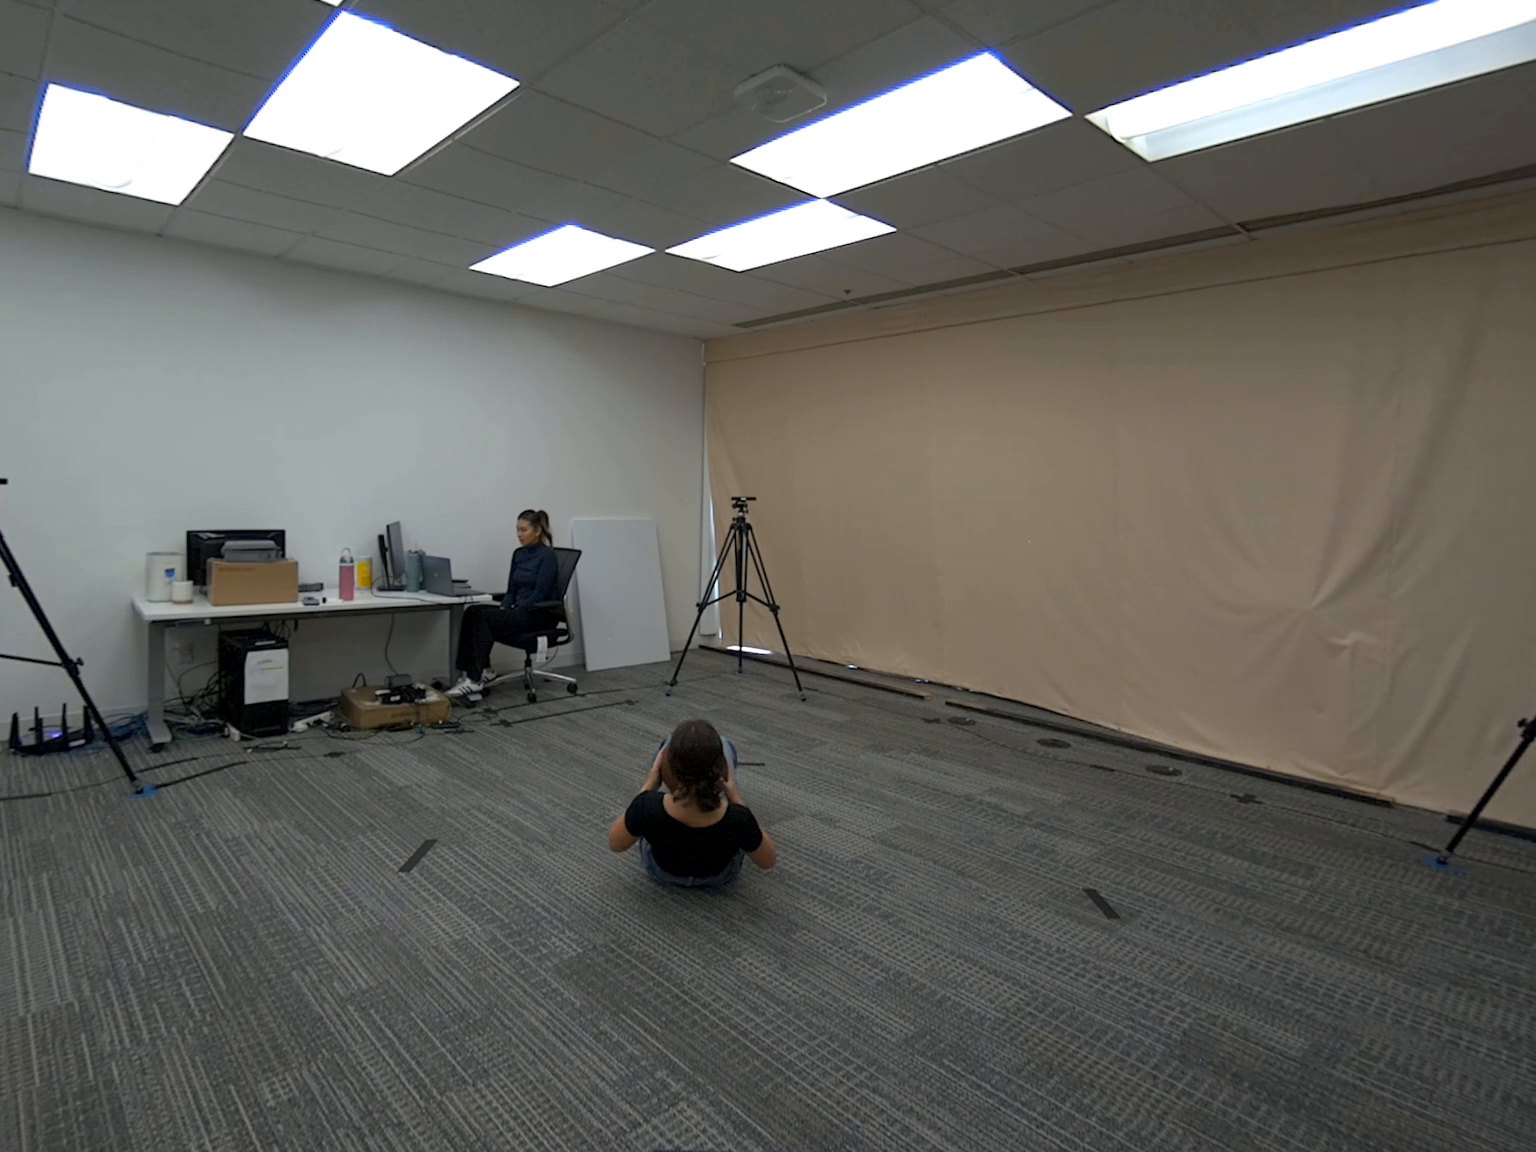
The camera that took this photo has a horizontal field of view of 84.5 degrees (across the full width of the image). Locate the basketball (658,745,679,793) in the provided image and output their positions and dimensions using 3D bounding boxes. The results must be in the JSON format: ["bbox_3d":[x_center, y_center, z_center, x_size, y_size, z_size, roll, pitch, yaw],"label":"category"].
[{"bbox_3d":[-0.282,0.693,3.029,0.236,0.235,0.237,1,4,-1],"label":"basketball"}]
